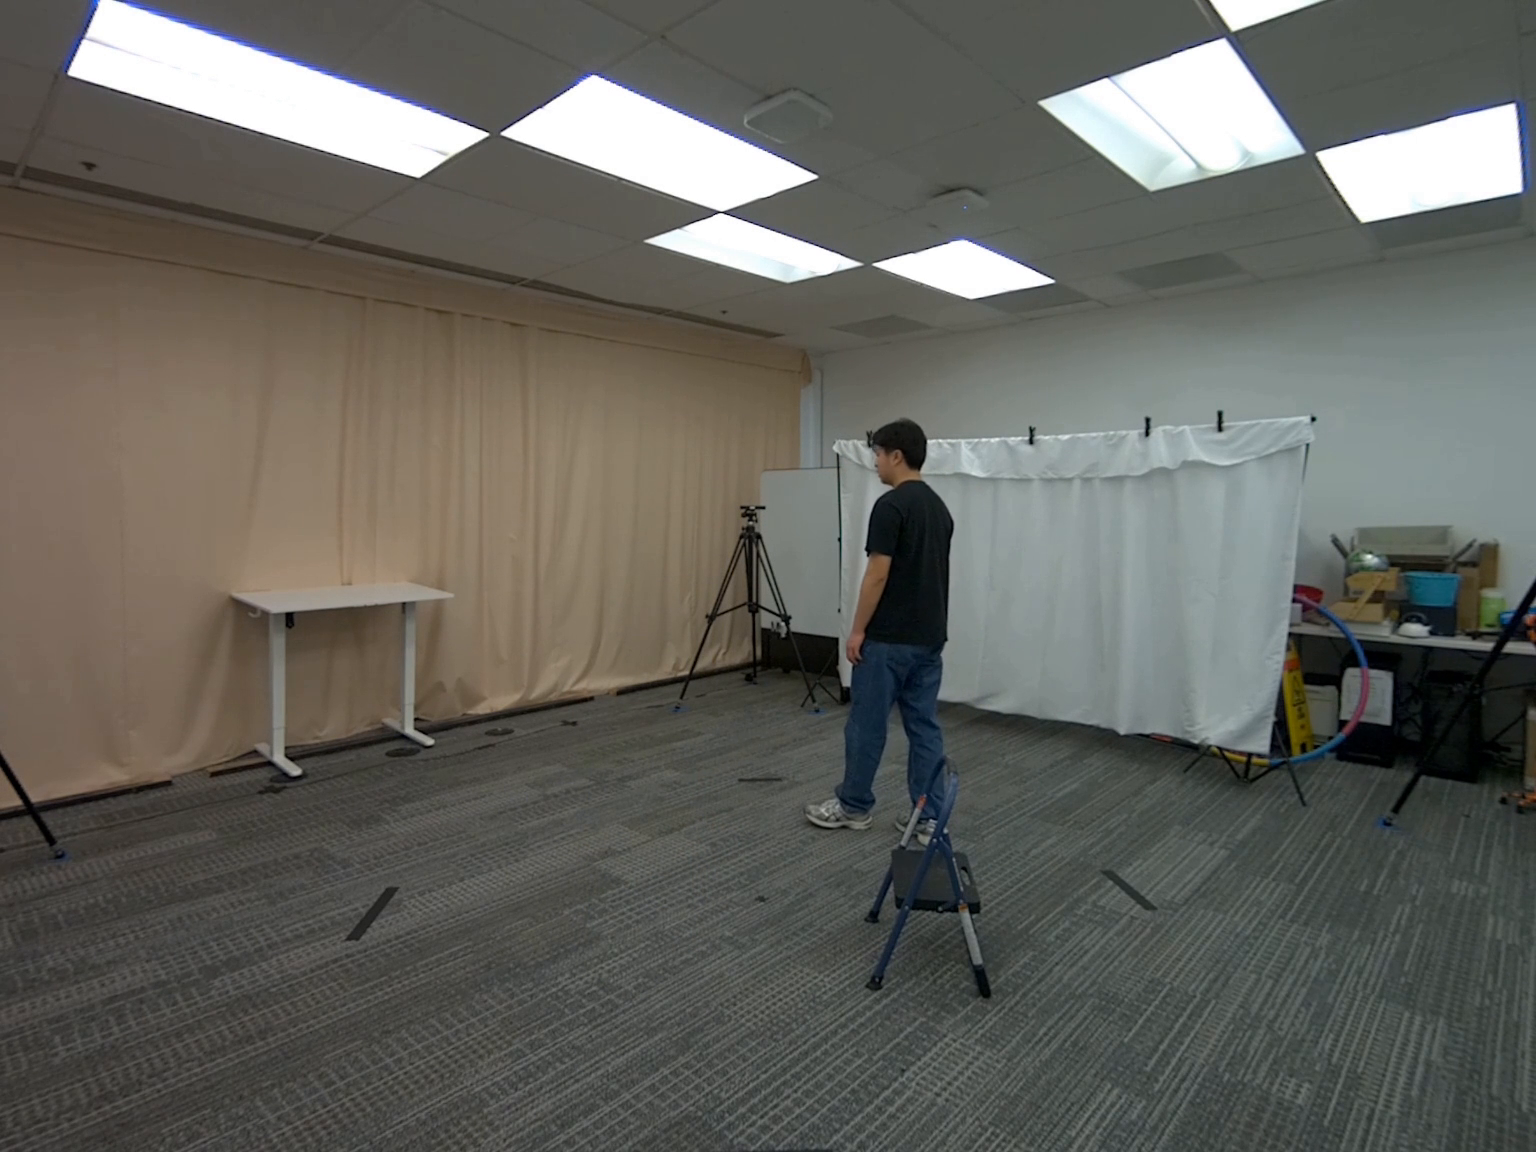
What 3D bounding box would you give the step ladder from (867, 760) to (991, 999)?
[{"bbox_3d":[0.480,0.876,2.589,0.352,0.605,0.428,0,4,6],"label":"step ladder"}]
